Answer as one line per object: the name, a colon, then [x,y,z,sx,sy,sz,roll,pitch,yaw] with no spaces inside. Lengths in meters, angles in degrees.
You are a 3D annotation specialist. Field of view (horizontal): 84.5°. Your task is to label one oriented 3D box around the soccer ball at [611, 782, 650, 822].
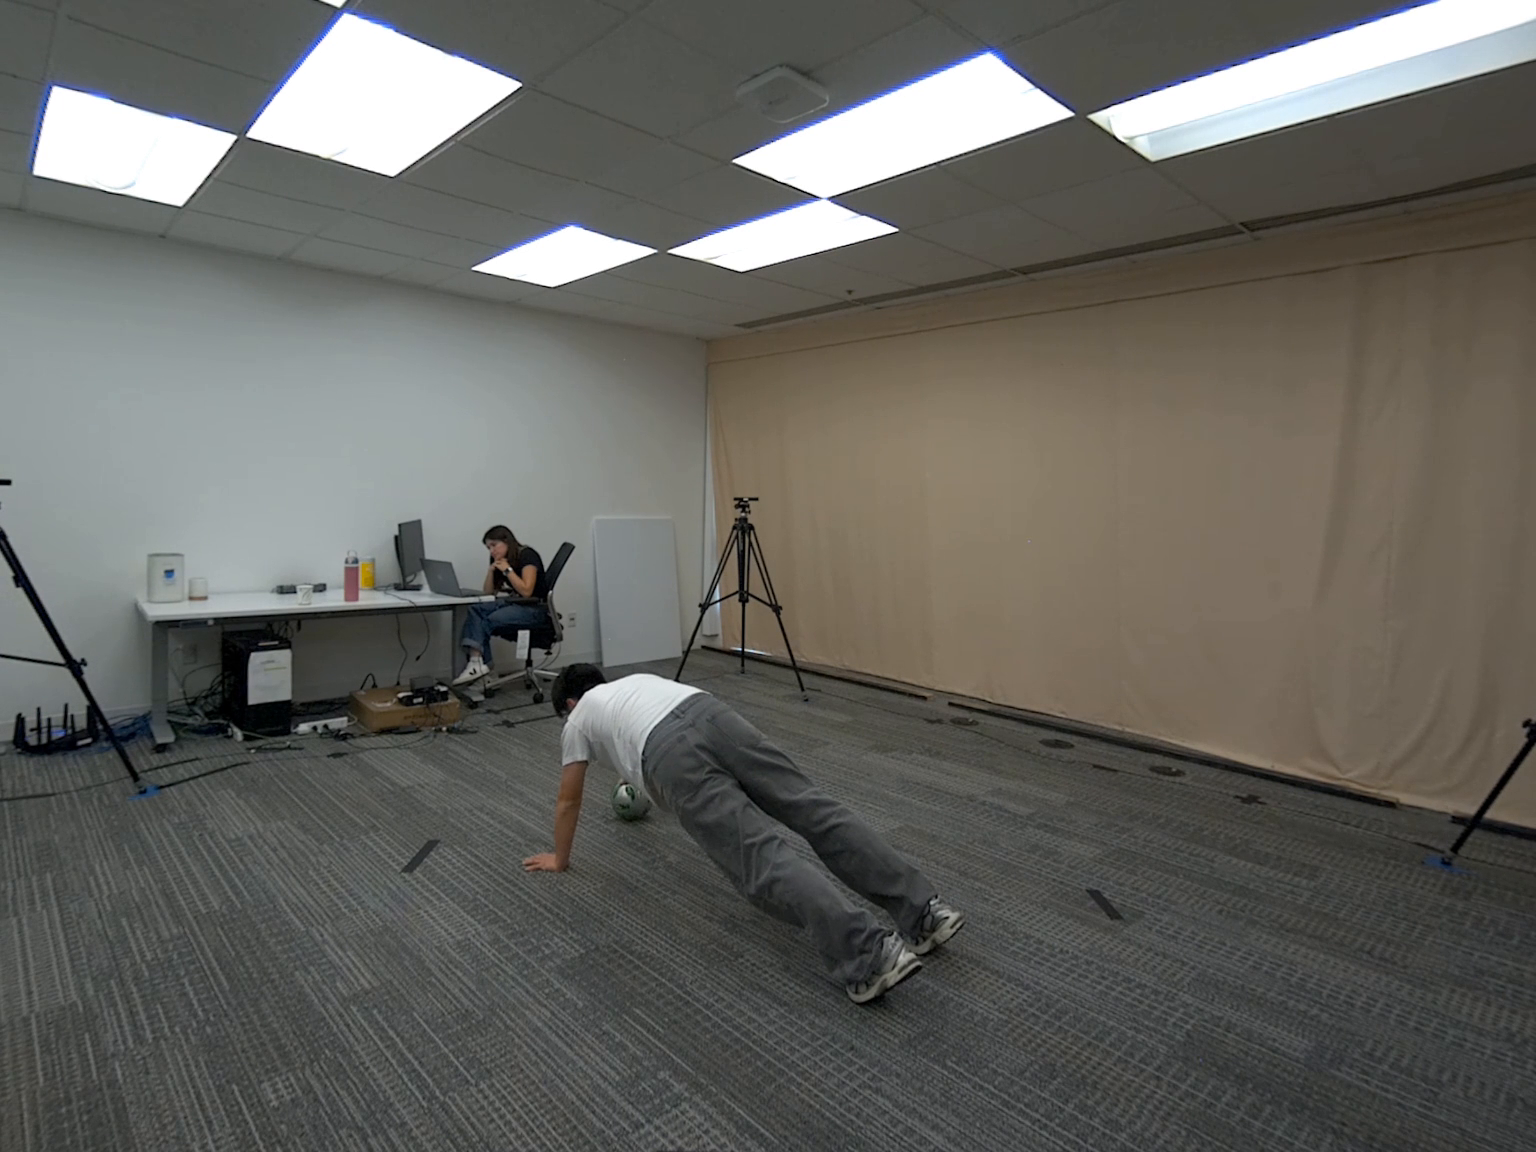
soccer ball: [-0.601,0.968,3.642,0.187,0.187,0.188,1,4,-1]
